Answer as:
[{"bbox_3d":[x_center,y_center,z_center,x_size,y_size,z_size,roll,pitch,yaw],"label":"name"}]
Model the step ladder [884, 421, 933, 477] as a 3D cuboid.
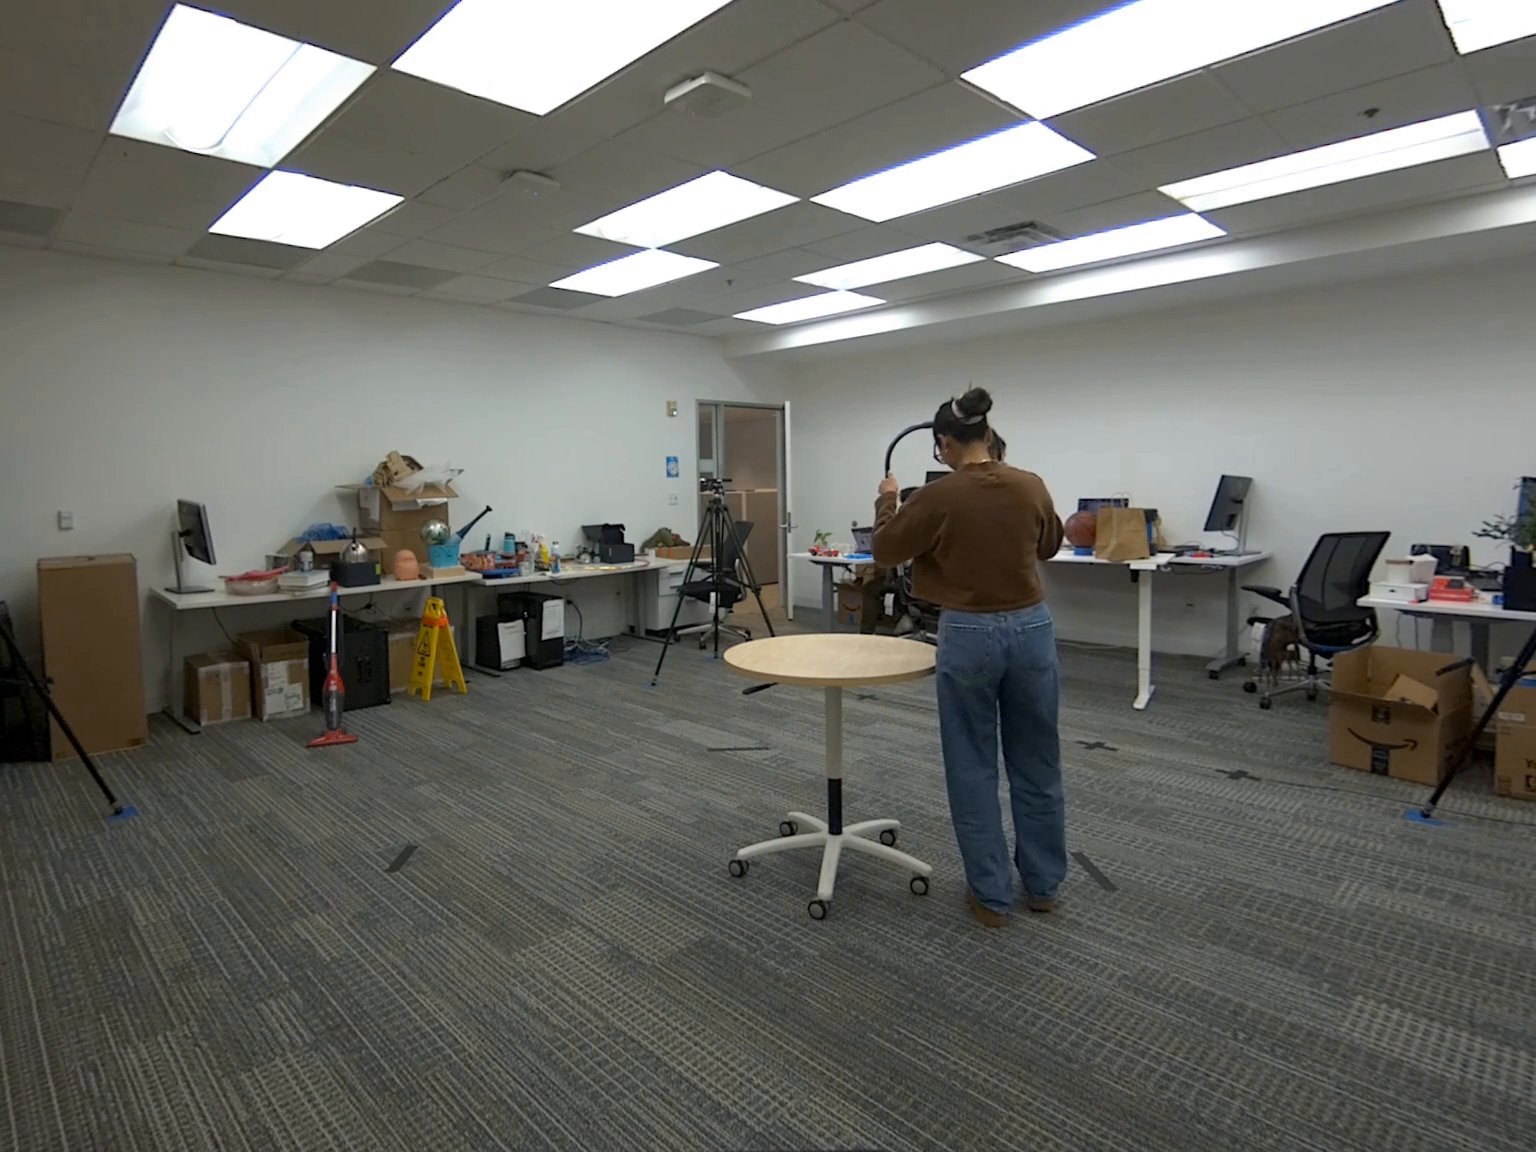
[{"bbox_3d":[0.641,-0.253,3.035,0.432,0.601,0.351,-6,9,3],"label":"step ladder"}]
